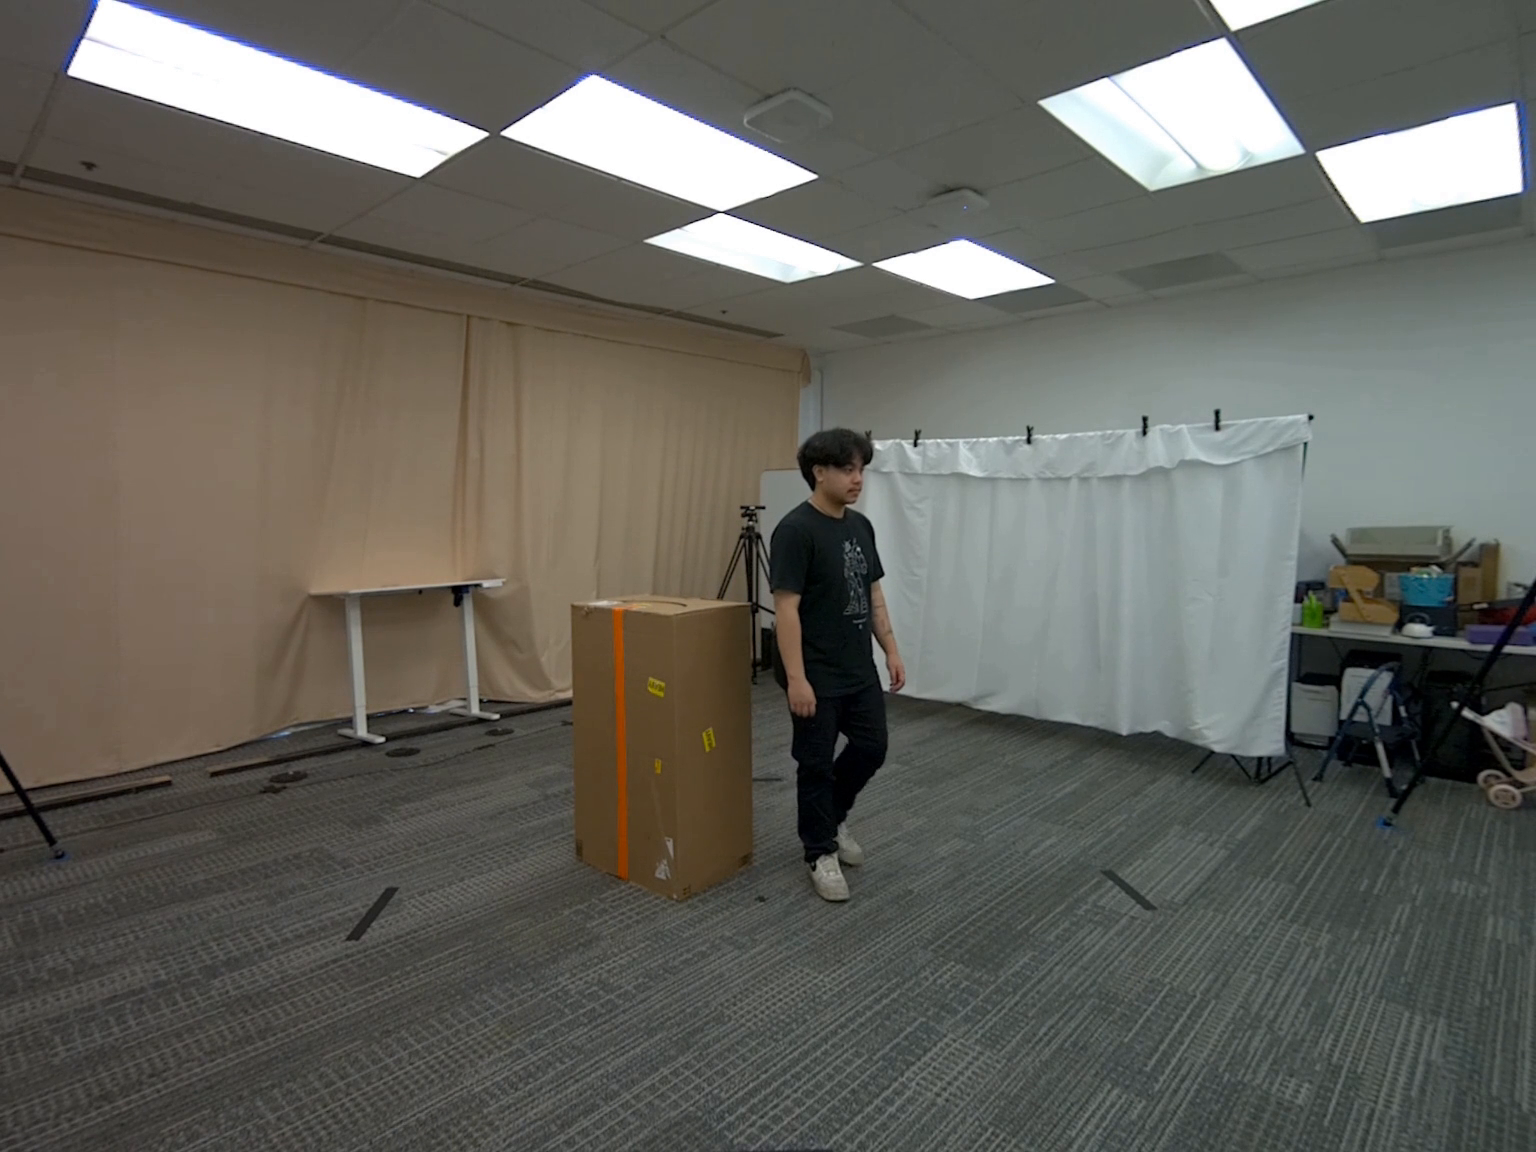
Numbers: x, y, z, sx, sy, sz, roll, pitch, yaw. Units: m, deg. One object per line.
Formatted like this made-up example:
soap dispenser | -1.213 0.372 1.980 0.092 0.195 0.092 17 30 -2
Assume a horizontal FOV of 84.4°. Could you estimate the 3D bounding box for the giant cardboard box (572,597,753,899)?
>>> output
giant cardboard box | -0.419 0.613 3.285 0.603 1.025 0.433 2 4 41
